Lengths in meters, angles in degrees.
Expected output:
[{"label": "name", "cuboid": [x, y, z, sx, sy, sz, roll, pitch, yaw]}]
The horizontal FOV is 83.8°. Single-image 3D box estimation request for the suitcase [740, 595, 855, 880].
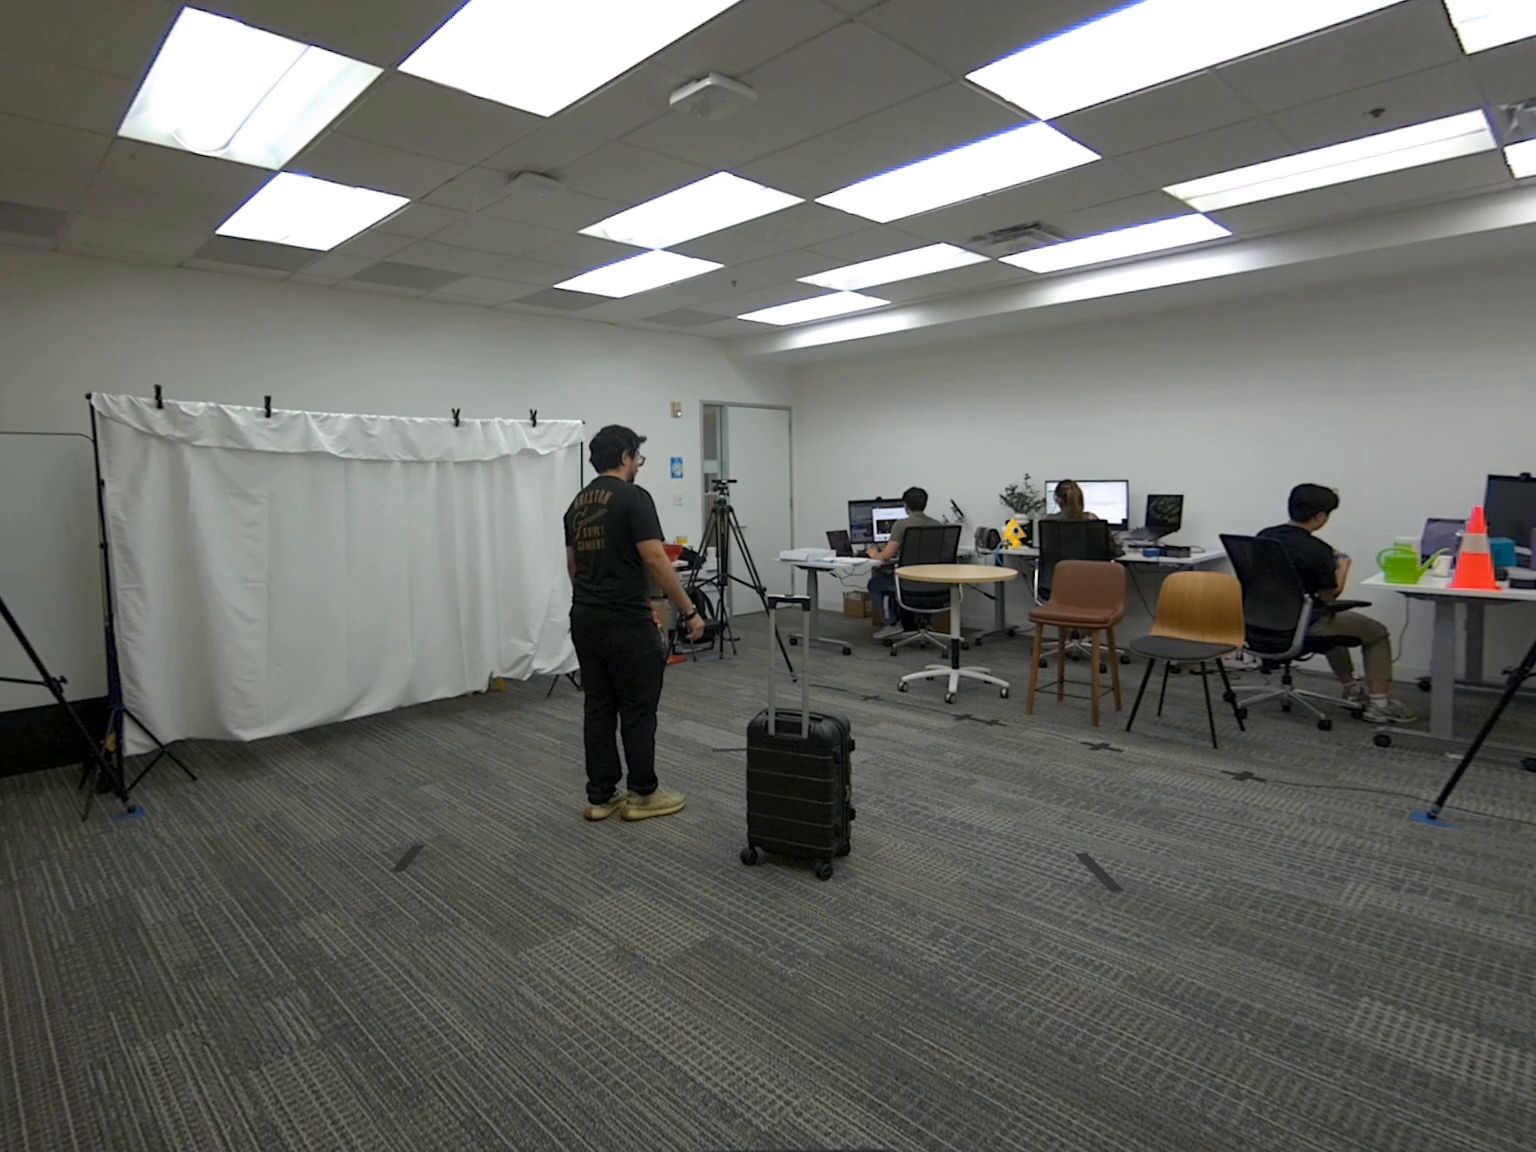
[{"label": "suitcase", "cuboid": [0.117, 0.567, 3.143, 0.393, 0.978, 0.251, 1, 0, 24]}]
